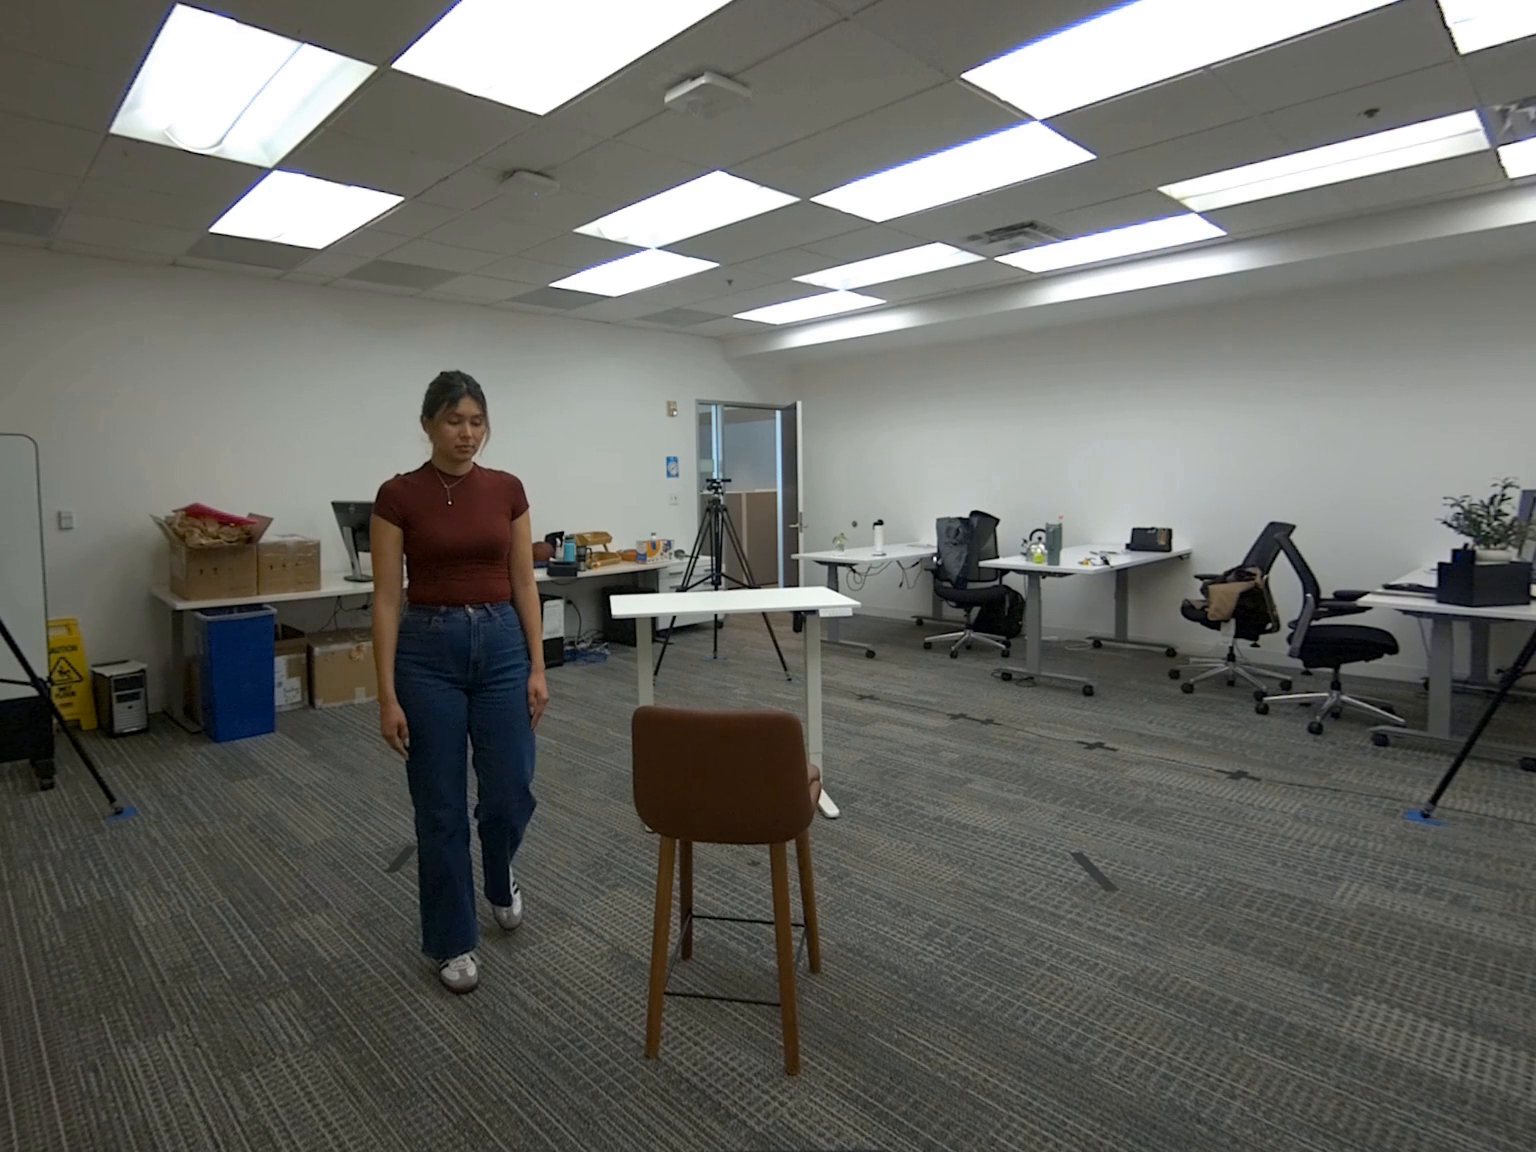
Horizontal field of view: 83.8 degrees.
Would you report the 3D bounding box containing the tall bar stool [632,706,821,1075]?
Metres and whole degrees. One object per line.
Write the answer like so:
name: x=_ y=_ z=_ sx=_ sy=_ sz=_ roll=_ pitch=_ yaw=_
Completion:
tall bar stool: x=-0.090 y=0.719 z=2.231 sx=0.462 sy=0.886 sz=0.464 roll=0 pitch=5 yaw=11
